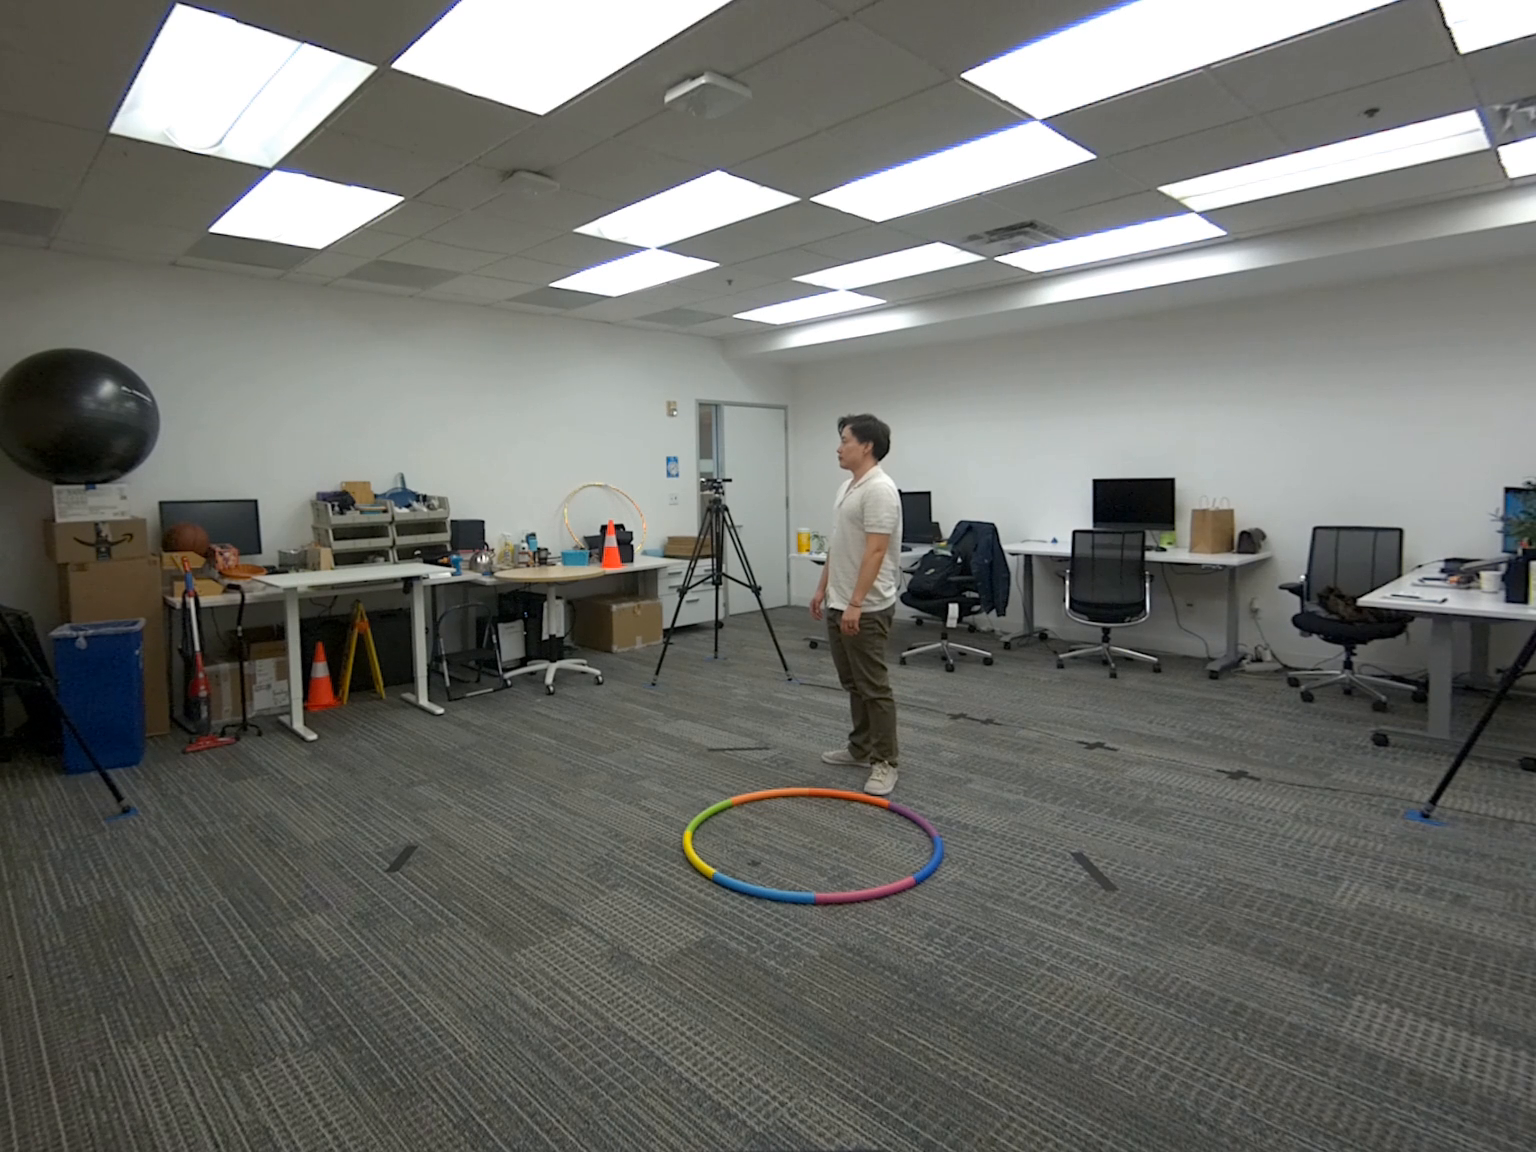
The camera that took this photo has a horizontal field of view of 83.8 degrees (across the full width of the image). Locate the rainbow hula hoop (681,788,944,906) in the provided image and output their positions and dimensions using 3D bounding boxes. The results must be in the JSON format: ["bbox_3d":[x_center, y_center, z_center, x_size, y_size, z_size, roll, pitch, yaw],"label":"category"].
[{"bbox_3d":[0.164,0.991,3.277,0.978,0.035,0.985,-1,7,-2],"label":"rainbow hula hoop"}]
